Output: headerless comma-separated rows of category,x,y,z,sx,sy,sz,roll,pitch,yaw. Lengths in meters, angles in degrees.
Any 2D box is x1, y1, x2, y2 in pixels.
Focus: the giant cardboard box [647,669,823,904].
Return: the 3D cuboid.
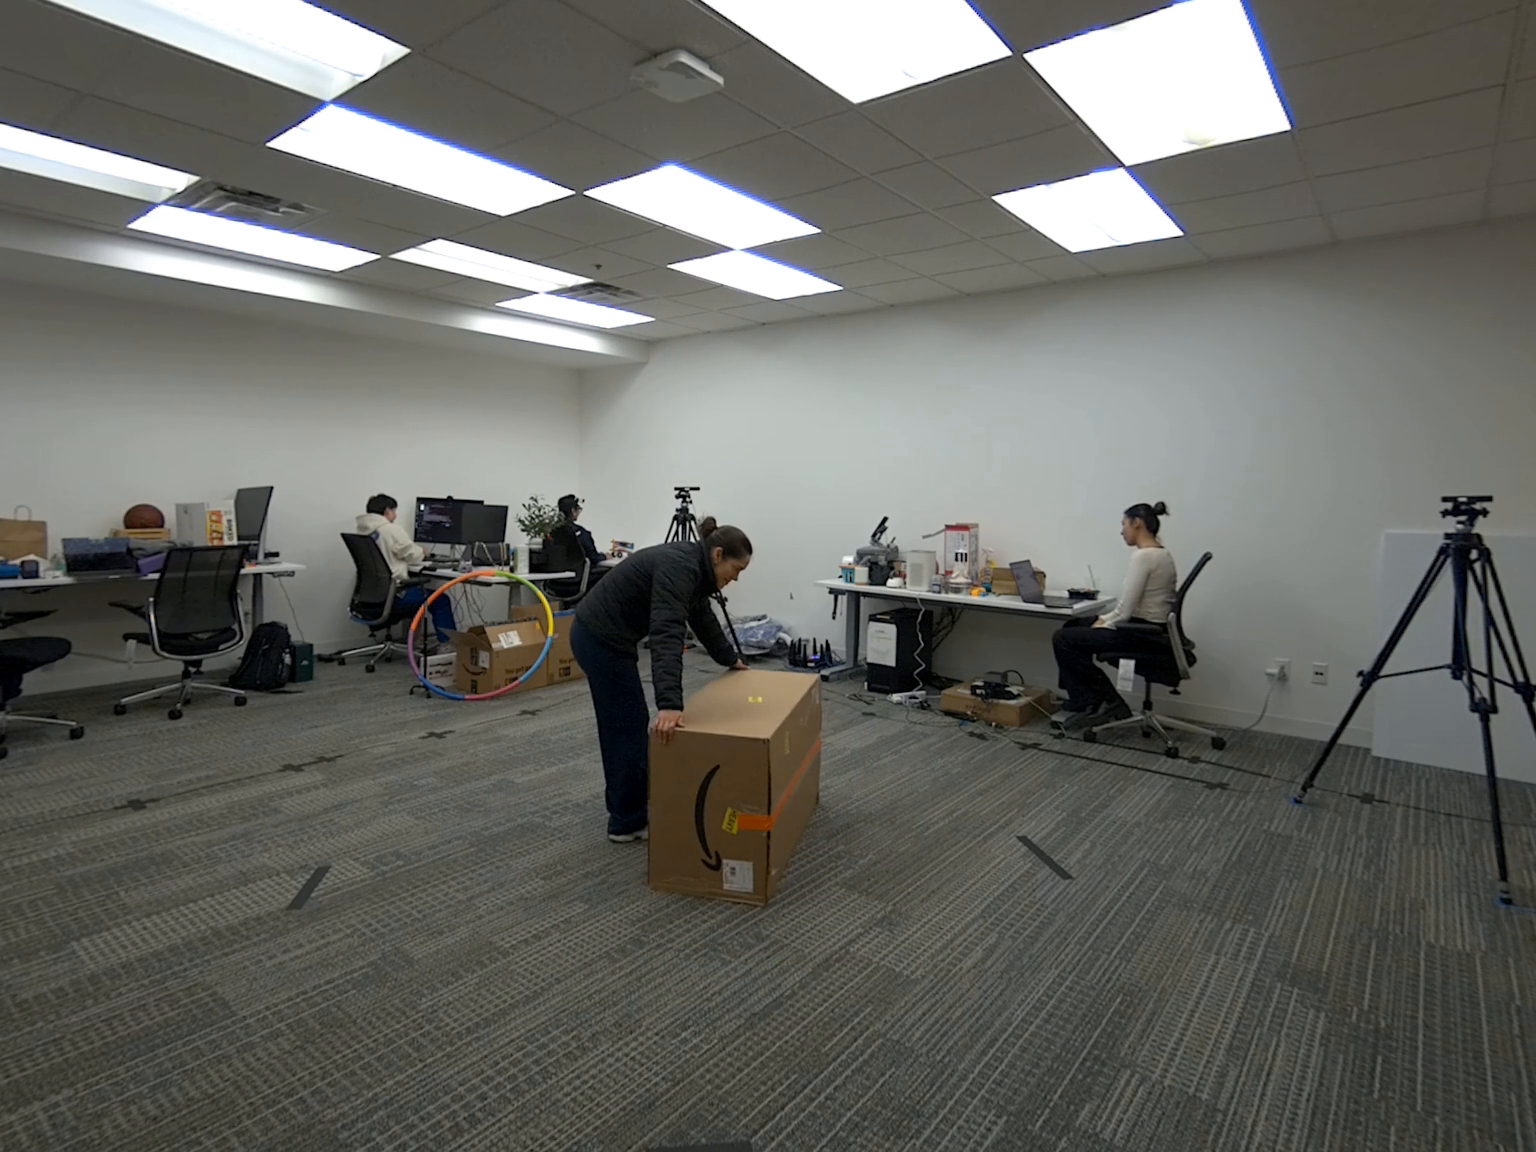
giant cardboard box,-0.069,0.755,3.356,0.454,0.582,1.014,2,5,14
